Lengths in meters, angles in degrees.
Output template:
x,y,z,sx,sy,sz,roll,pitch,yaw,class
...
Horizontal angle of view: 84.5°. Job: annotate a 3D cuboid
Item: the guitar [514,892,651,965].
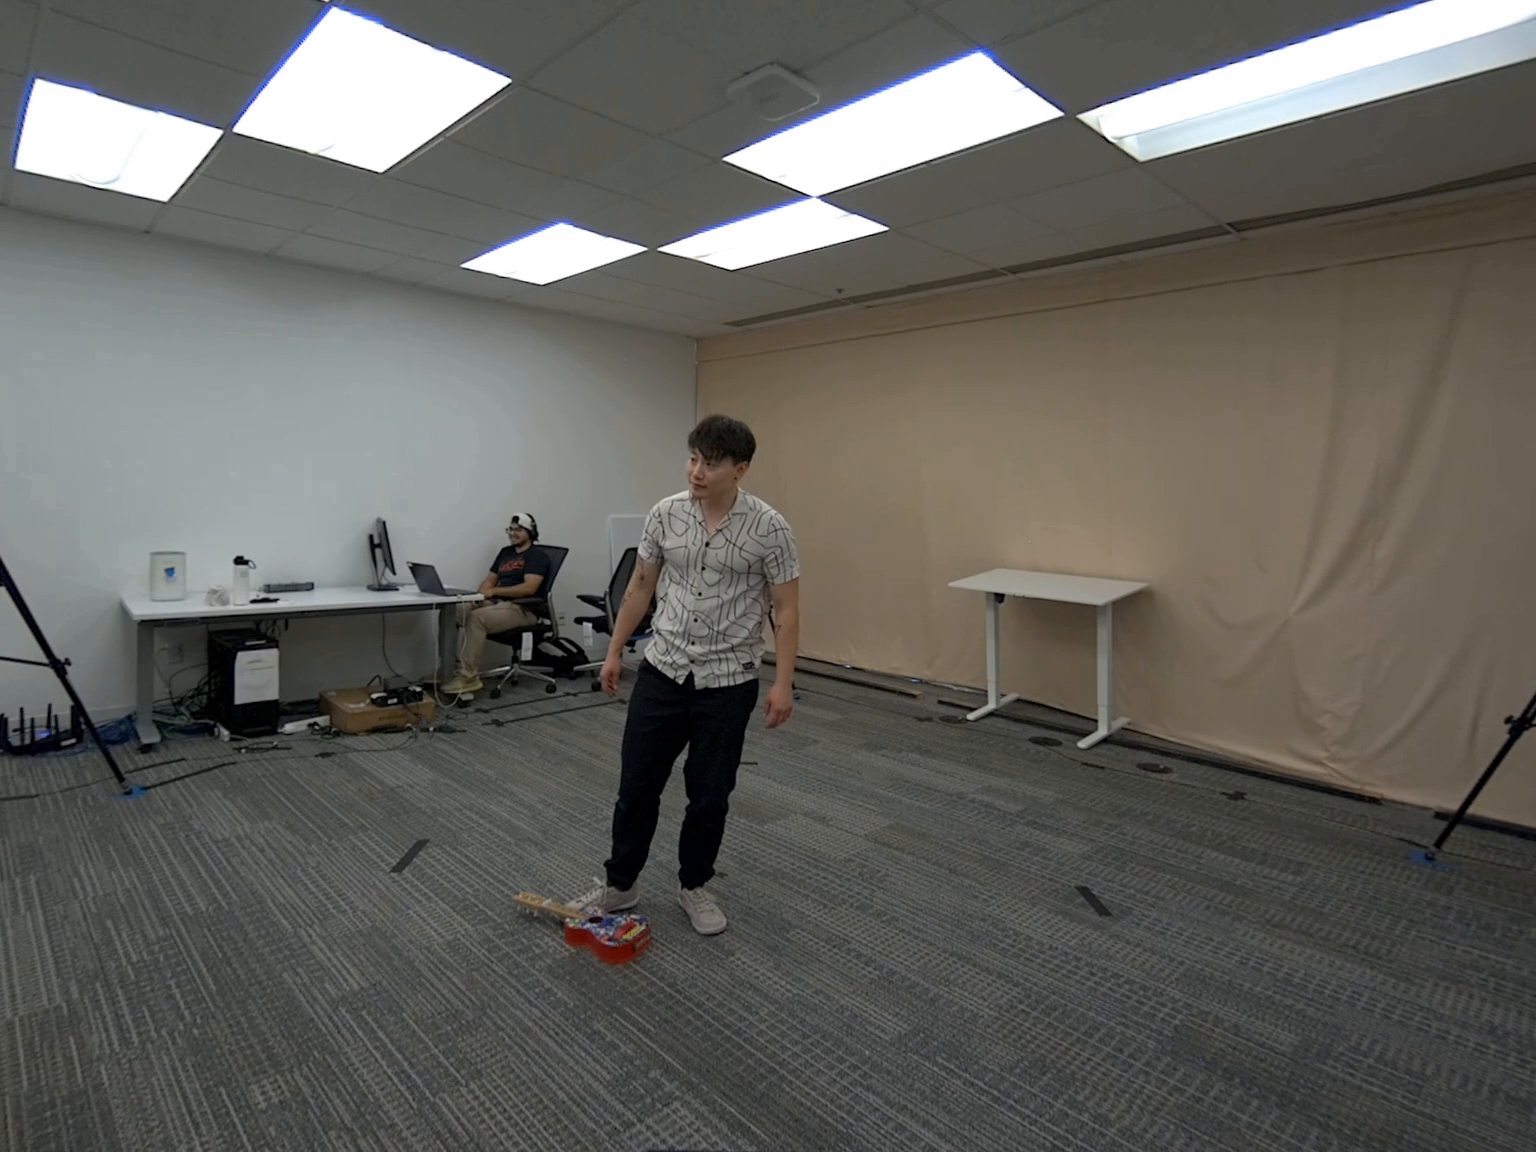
x,y,z,sx,sy,sz,roll,pitch,yaw,class
-0.605,1.097,2.694,0.510,0.070,0.189,6,7,36,guitar
